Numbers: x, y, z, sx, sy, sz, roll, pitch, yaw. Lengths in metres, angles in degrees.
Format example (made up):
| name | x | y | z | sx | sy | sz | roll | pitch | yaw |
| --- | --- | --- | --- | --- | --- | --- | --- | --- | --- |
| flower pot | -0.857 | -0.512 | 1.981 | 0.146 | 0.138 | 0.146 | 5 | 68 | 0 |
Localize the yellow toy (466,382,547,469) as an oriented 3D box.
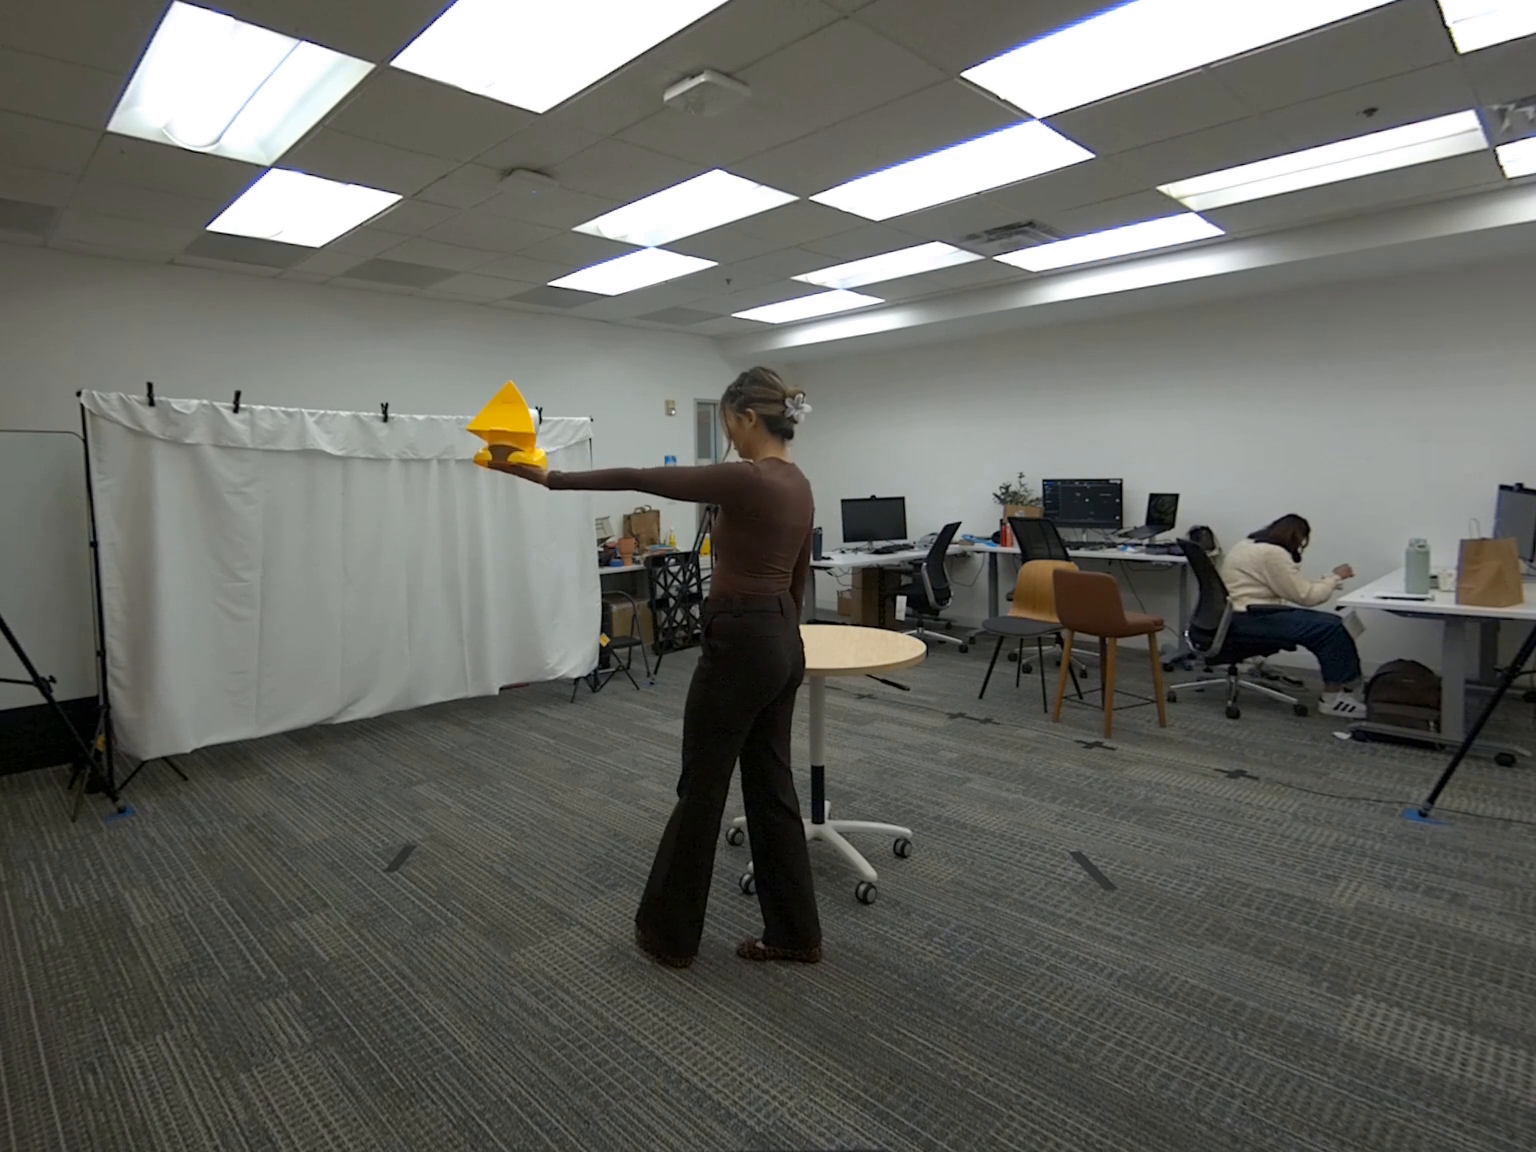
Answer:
| name | x | y | z | sx | sy | sz | roll | pitch | yaw |
| --- | --- | --- | --- | --- | --- | --- | --- | --- | --- |
| yellow toy | -0.715 | -0.426 | 2.408 | 0.206 | 0.232 | 0.190 | 3 | -6 | 7 |
